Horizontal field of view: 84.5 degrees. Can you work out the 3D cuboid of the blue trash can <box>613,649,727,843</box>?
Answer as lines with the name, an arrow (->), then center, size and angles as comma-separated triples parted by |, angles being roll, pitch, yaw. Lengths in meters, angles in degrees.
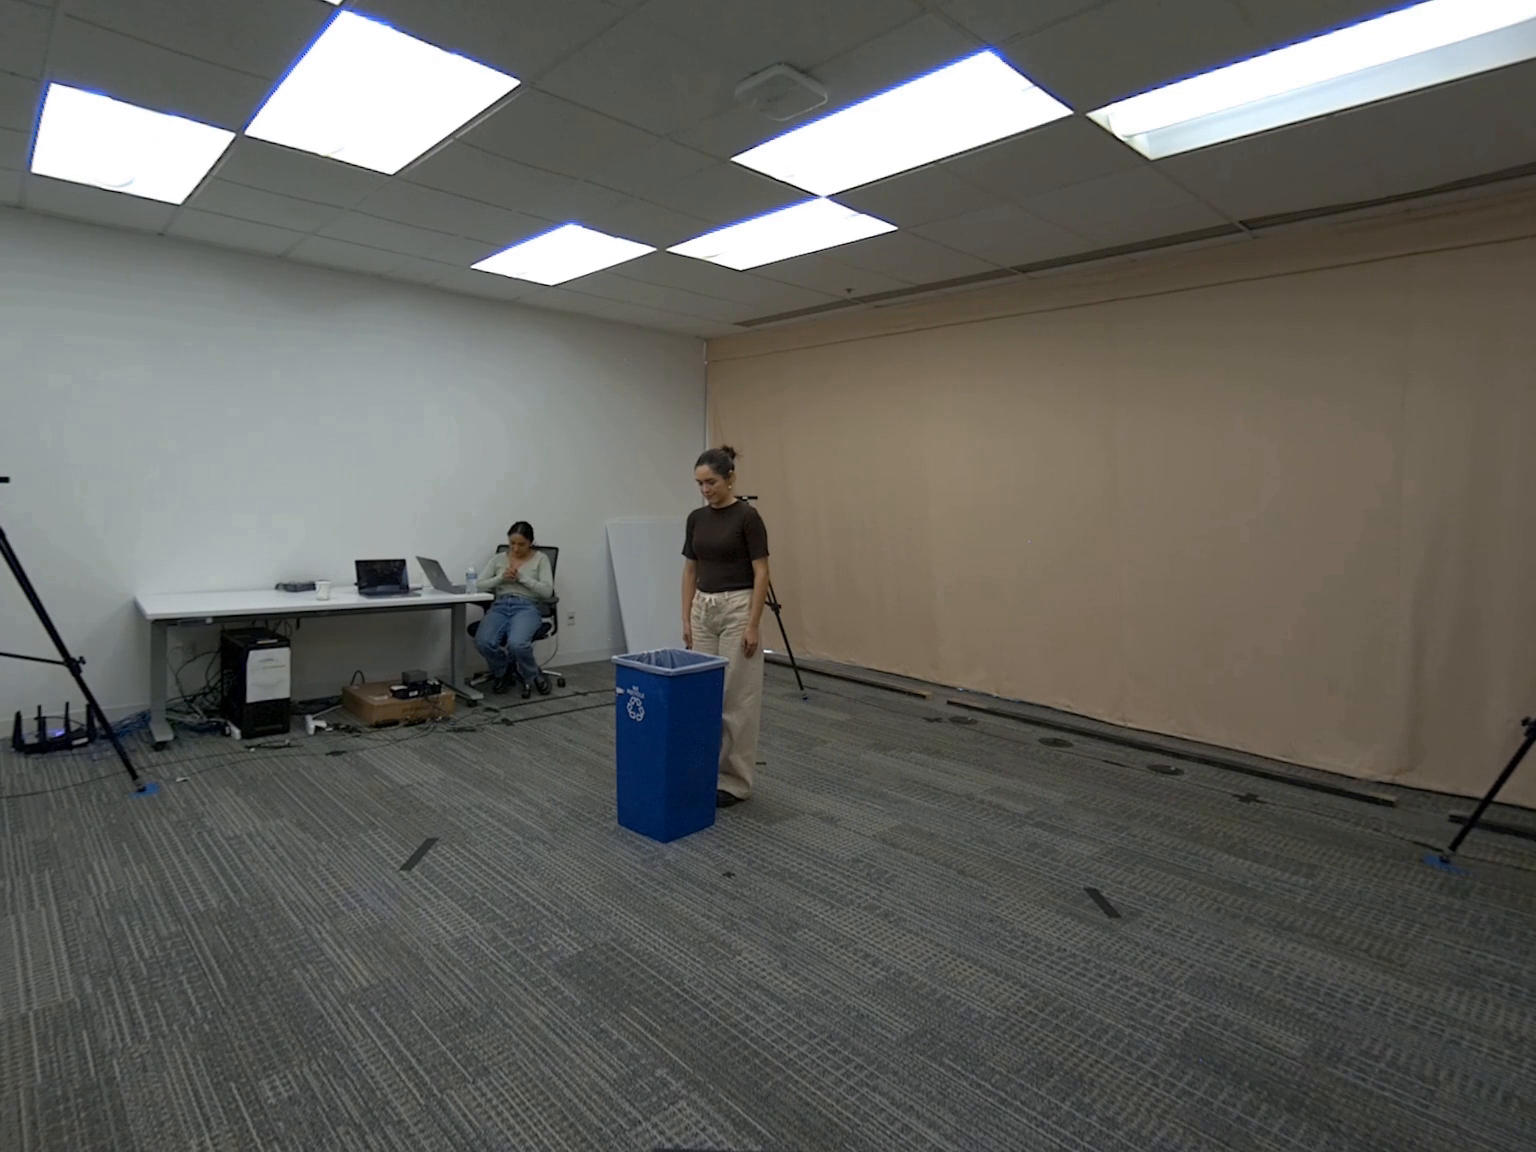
blue trash can -> -0.423, 0.696, 3.553 | 0.383, 0.712, 0.369 | 4, 4, 41
